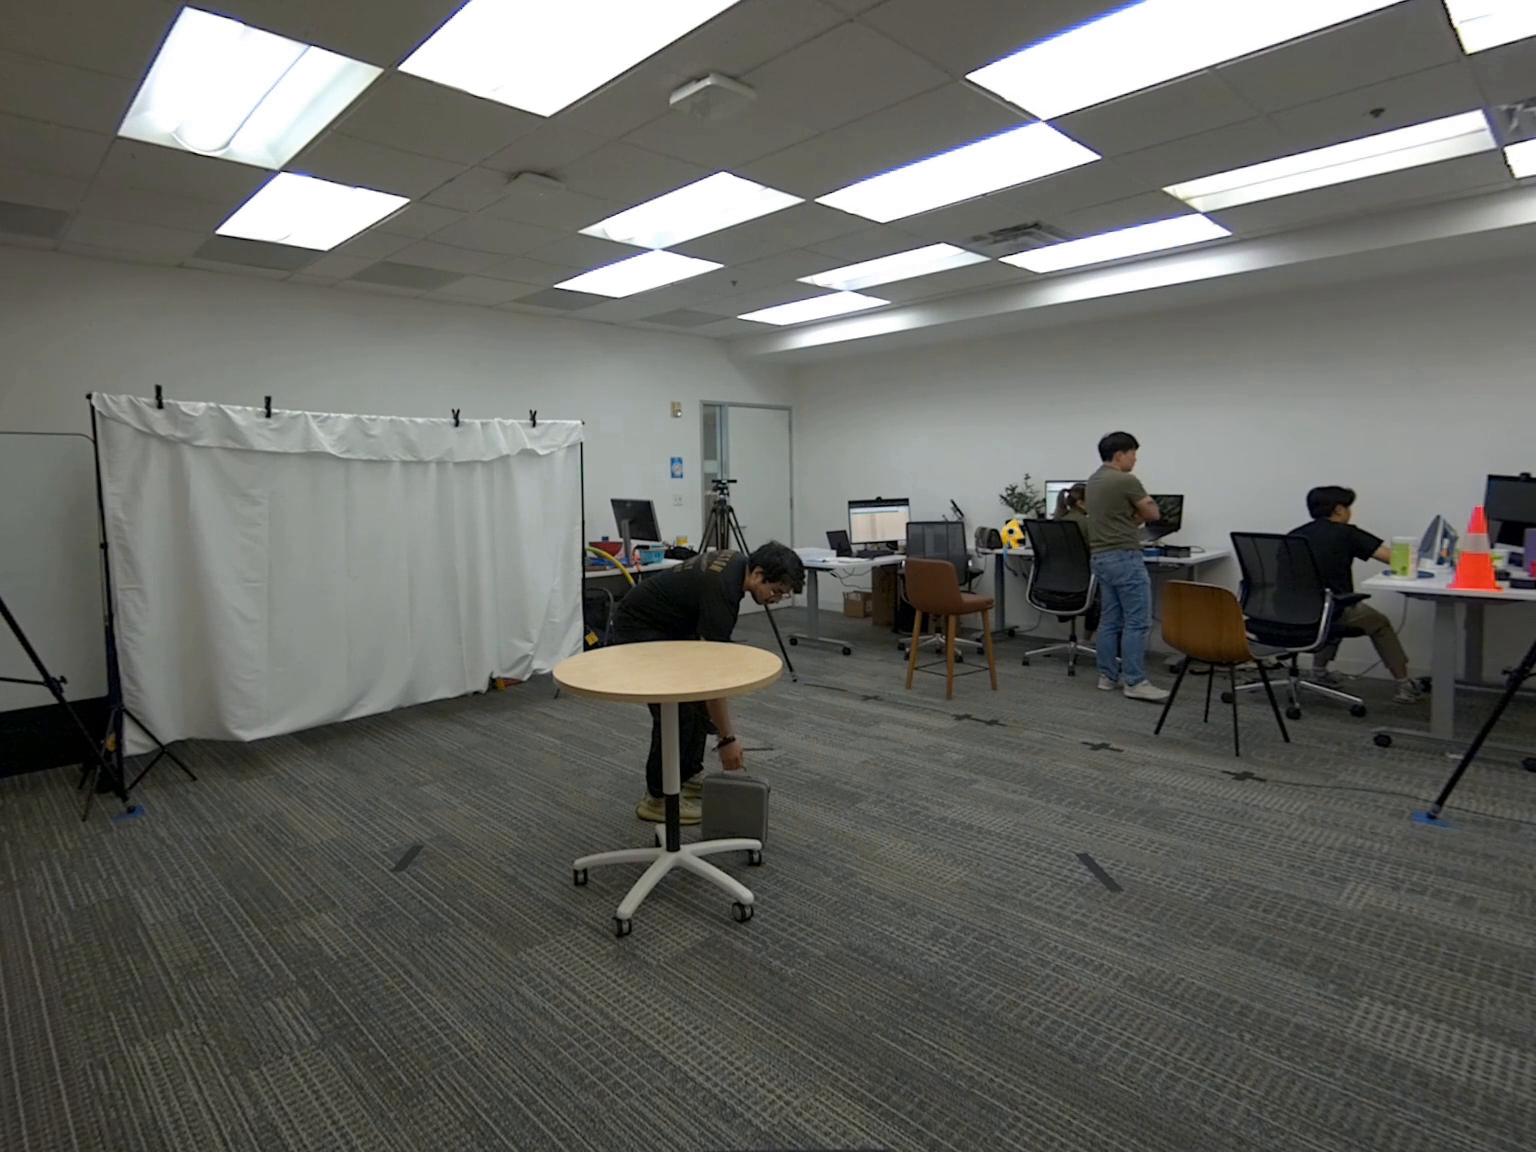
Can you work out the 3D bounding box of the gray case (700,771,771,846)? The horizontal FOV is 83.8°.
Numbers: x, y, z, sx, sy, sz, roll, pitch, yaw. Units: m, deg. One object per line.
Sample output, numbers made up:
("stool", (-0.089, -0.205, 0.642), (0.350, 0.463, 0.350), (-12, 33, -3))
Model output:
("gray case", (-0.125, 0.887, 3.277), (0.260, 0.260, 0.103), (3, 4, 13))
